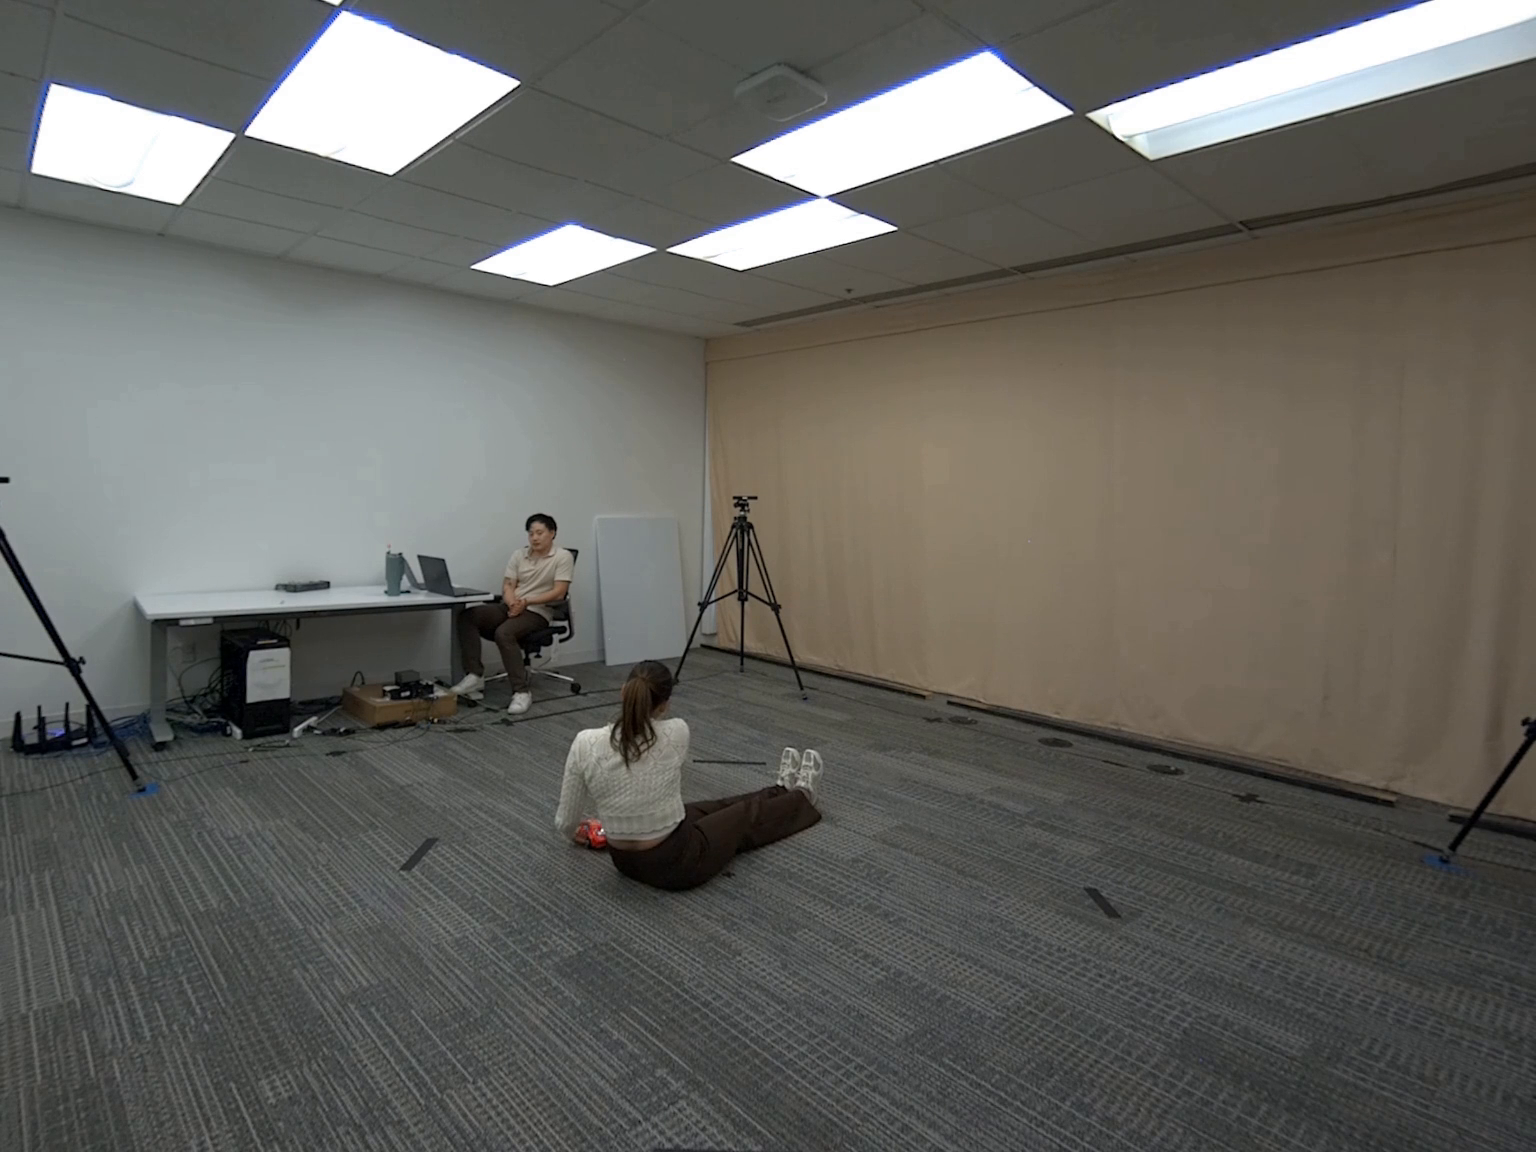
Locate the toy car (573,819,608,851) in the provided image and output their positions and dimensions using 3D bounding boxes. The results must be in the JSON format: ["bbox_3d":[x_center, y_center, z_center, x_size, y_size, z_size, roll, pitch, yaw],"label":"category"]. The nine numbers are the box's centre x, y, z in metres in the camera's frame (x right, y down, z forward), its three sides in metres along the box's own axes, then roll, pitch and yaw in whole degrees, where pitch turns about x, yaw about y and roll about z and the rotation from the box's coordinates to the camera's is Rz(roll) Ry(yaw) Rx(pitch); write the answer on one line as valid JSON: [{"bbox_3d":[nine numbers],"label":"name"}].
[{"bbox_3d":[-0.698,1.032,3.380,0.127,0.083,0.259,-3,-4,-33],"label":"toy car"}]
